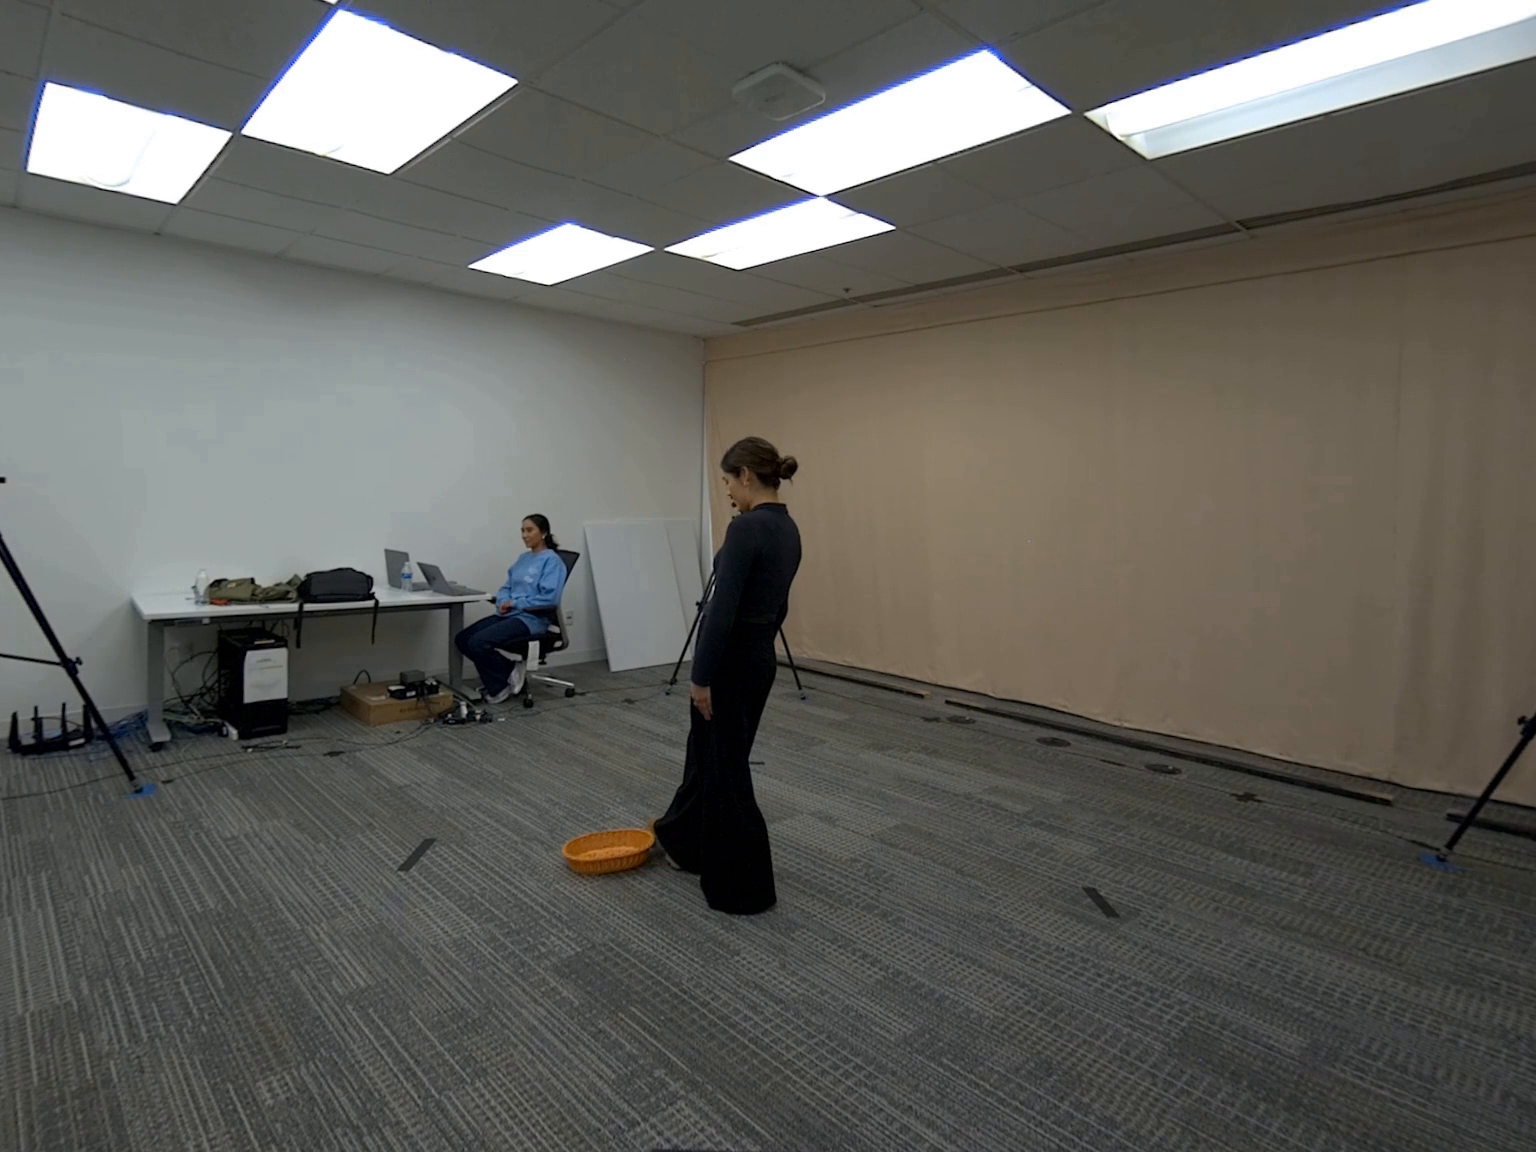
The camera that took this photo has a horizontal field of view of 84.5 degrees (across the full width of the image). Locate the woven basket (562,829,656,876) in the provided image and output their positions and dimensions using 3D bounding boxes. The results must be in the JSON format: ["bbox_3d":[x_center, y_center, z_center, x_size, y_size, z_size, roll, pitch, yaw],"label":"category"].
[{"bbox_3d":[-0.601,1.034,3.164,0.347,0.073,0.255,-5,6,-12],"label":"woven basket"}]
